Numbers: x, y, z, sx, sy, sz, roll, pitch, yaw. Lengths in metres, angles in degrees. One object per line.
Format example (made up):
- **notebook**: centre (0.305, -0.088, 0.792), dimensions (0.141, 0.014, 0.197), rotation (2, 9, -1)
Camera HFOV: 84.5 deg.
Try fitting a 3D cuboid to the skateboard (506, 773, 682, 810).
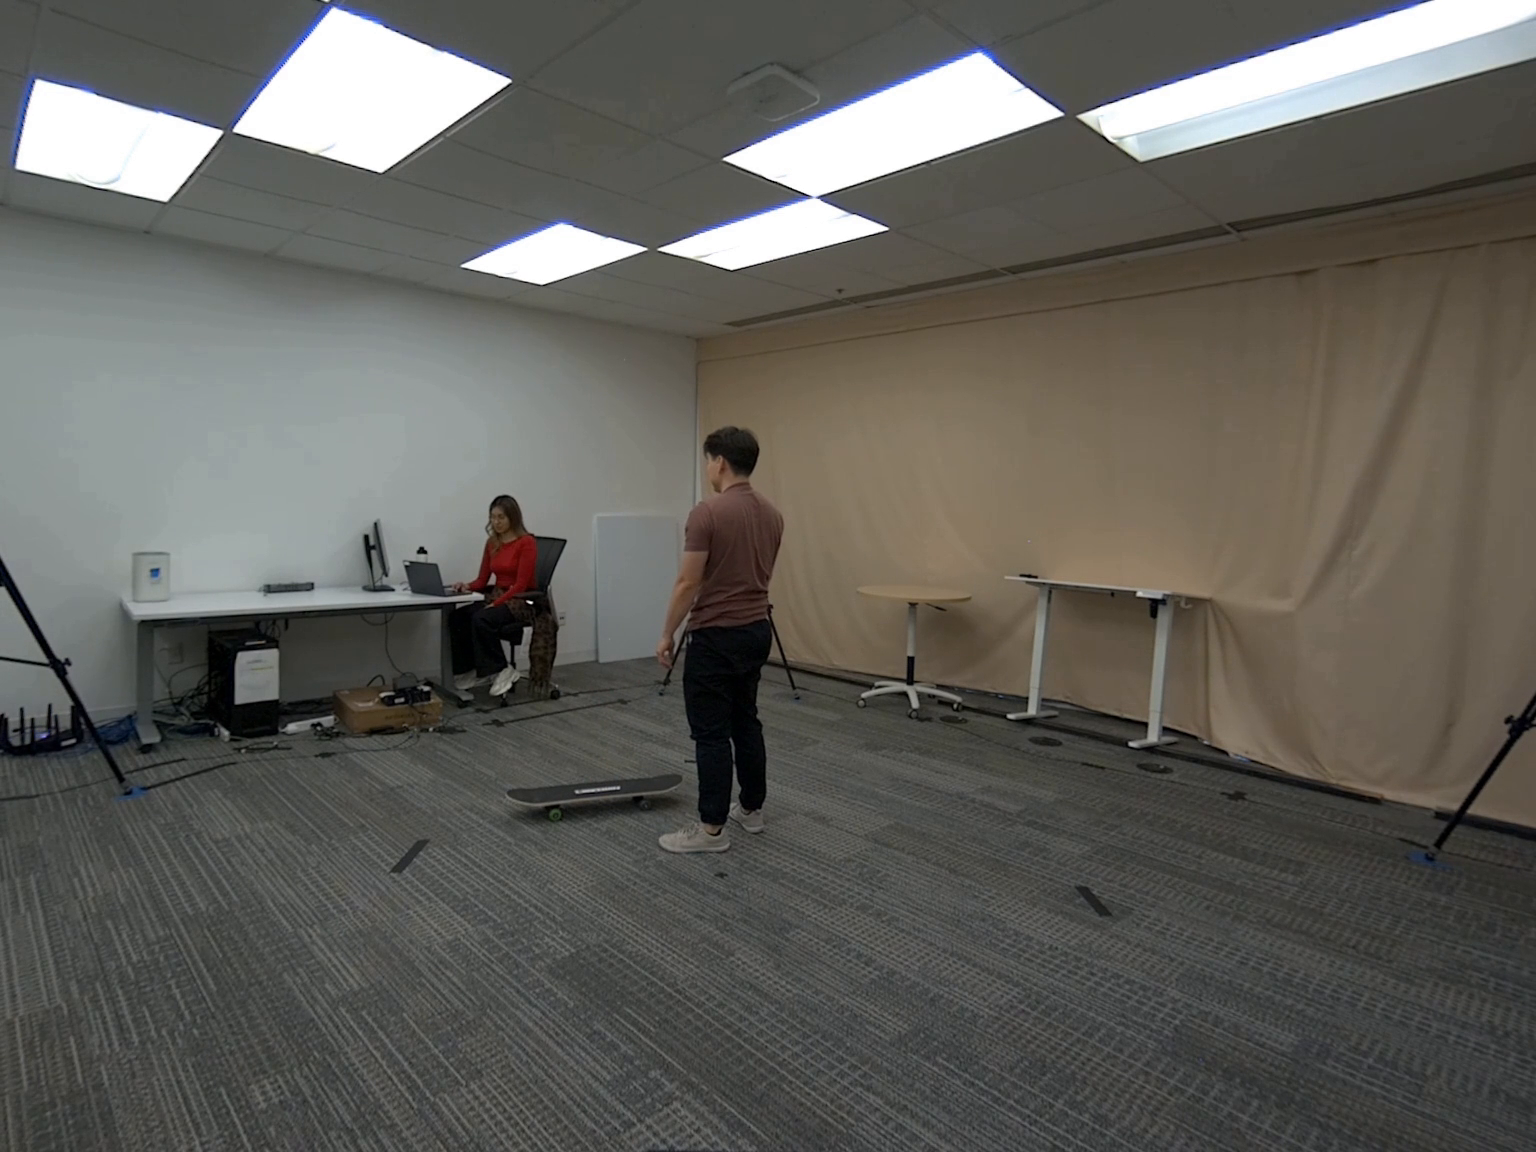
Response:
- **skateboard**: centre (-0.768, 0.979, 3.729), dimensions (0.773, 0.110, 0.197), rotation (-1, 7, -21)
